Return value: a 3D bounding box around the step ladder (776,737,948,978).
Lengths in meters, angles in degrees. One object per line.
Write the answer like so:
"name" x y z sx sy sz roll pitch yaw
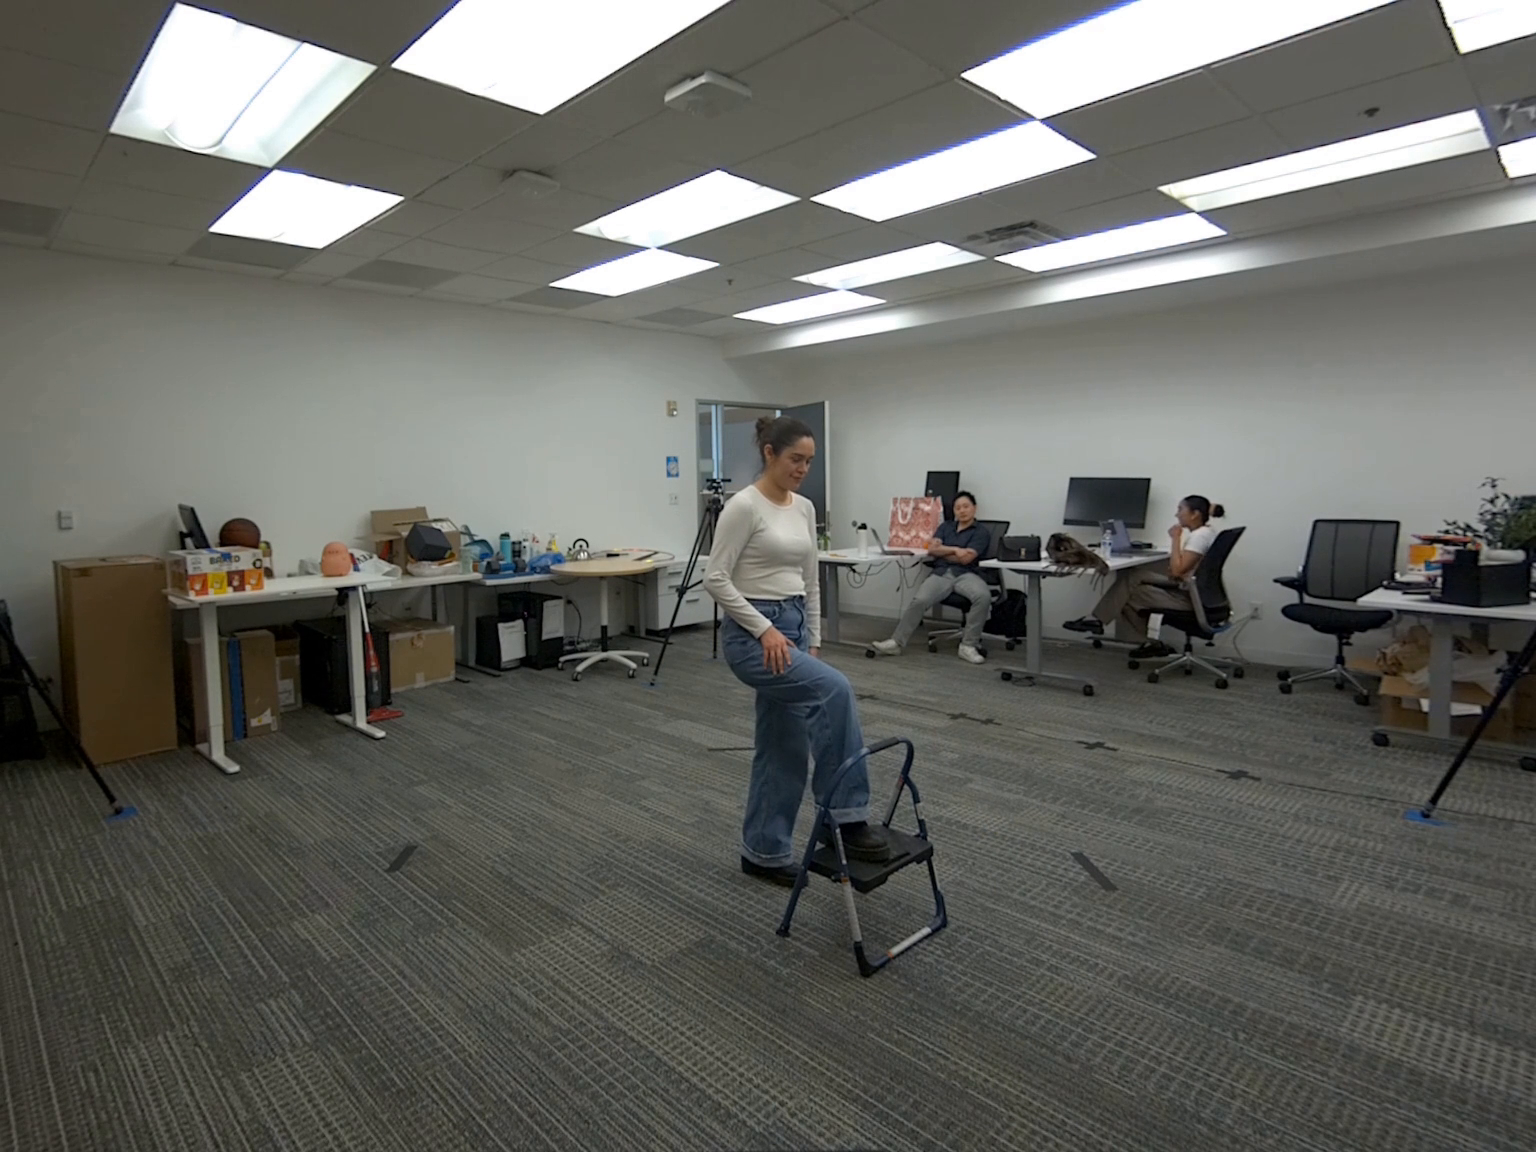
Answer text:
"step ladder" 0.293 0.792 2.622 0.360 0.603 0.419 3 7 44
